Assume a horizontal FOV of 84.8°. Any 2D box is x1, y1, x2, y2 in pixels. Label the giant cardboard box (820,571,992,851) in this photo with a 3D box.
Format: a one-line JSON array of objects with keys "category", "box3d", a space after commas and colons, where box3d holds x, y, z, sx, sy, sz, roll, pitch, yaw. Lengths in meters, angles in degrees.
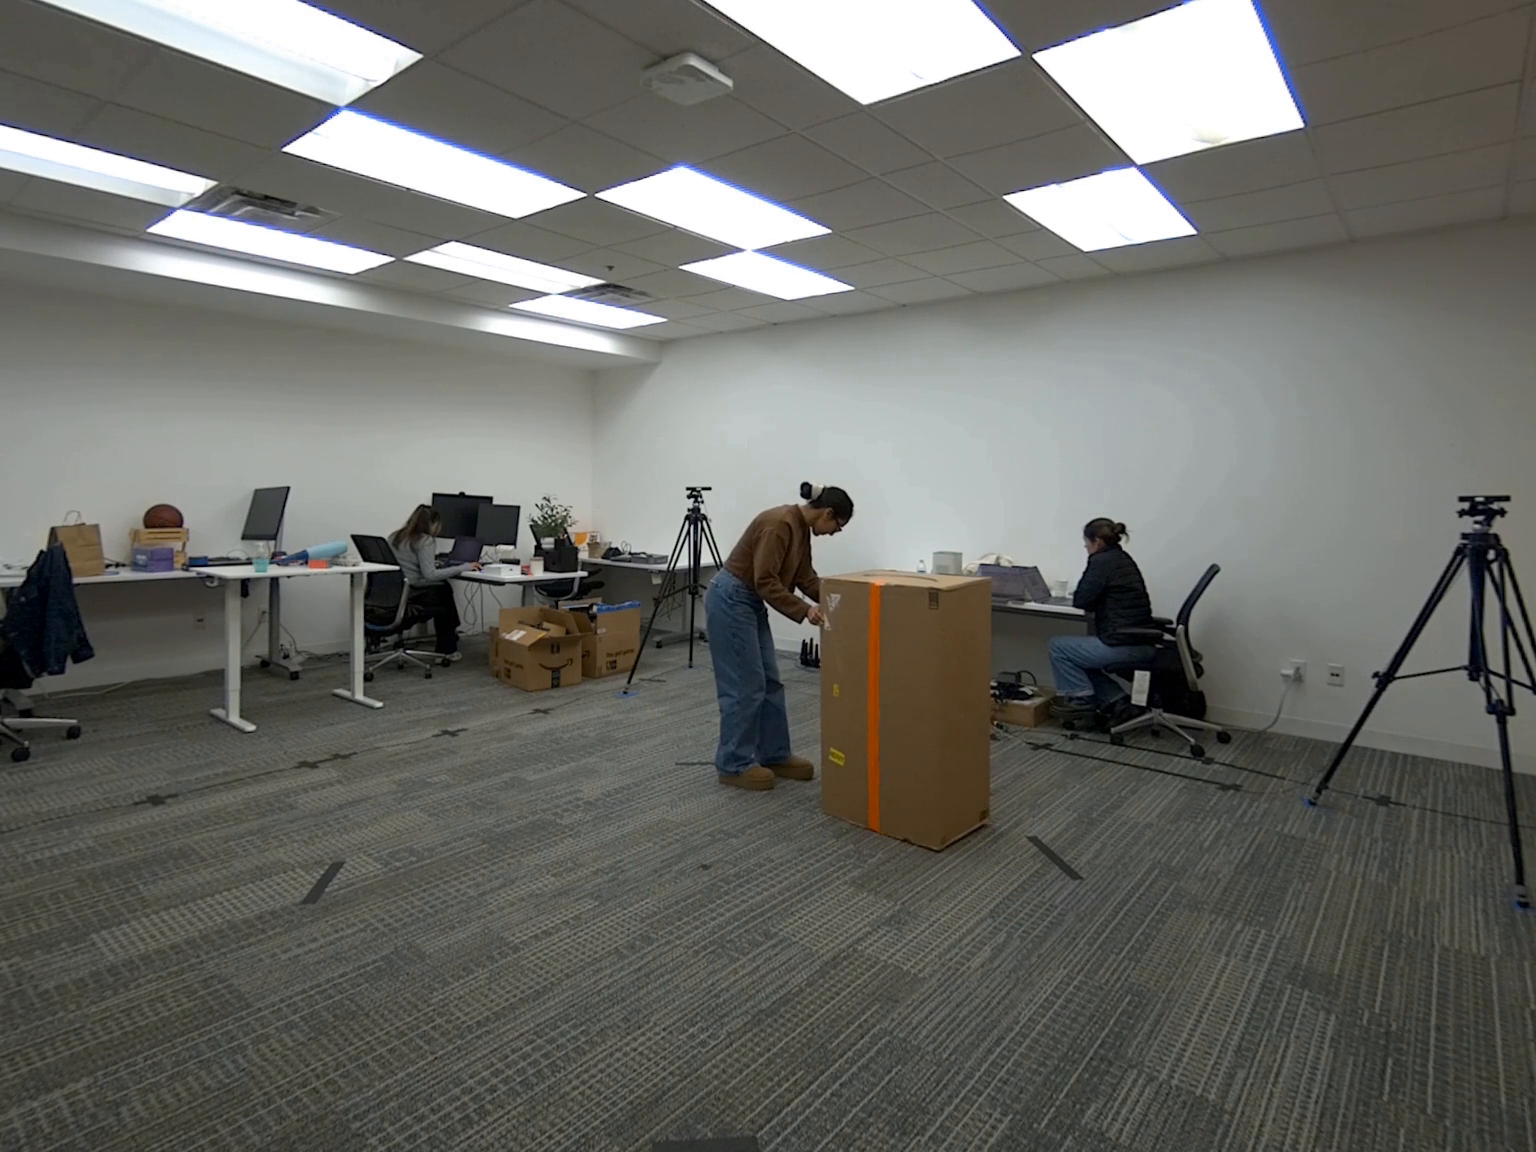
[{"category": "giant cardboard box", "box3d": [0.568, 0.516, 3.590, 0.597, 1.022, 0.414, 3, 5, 43]}]
